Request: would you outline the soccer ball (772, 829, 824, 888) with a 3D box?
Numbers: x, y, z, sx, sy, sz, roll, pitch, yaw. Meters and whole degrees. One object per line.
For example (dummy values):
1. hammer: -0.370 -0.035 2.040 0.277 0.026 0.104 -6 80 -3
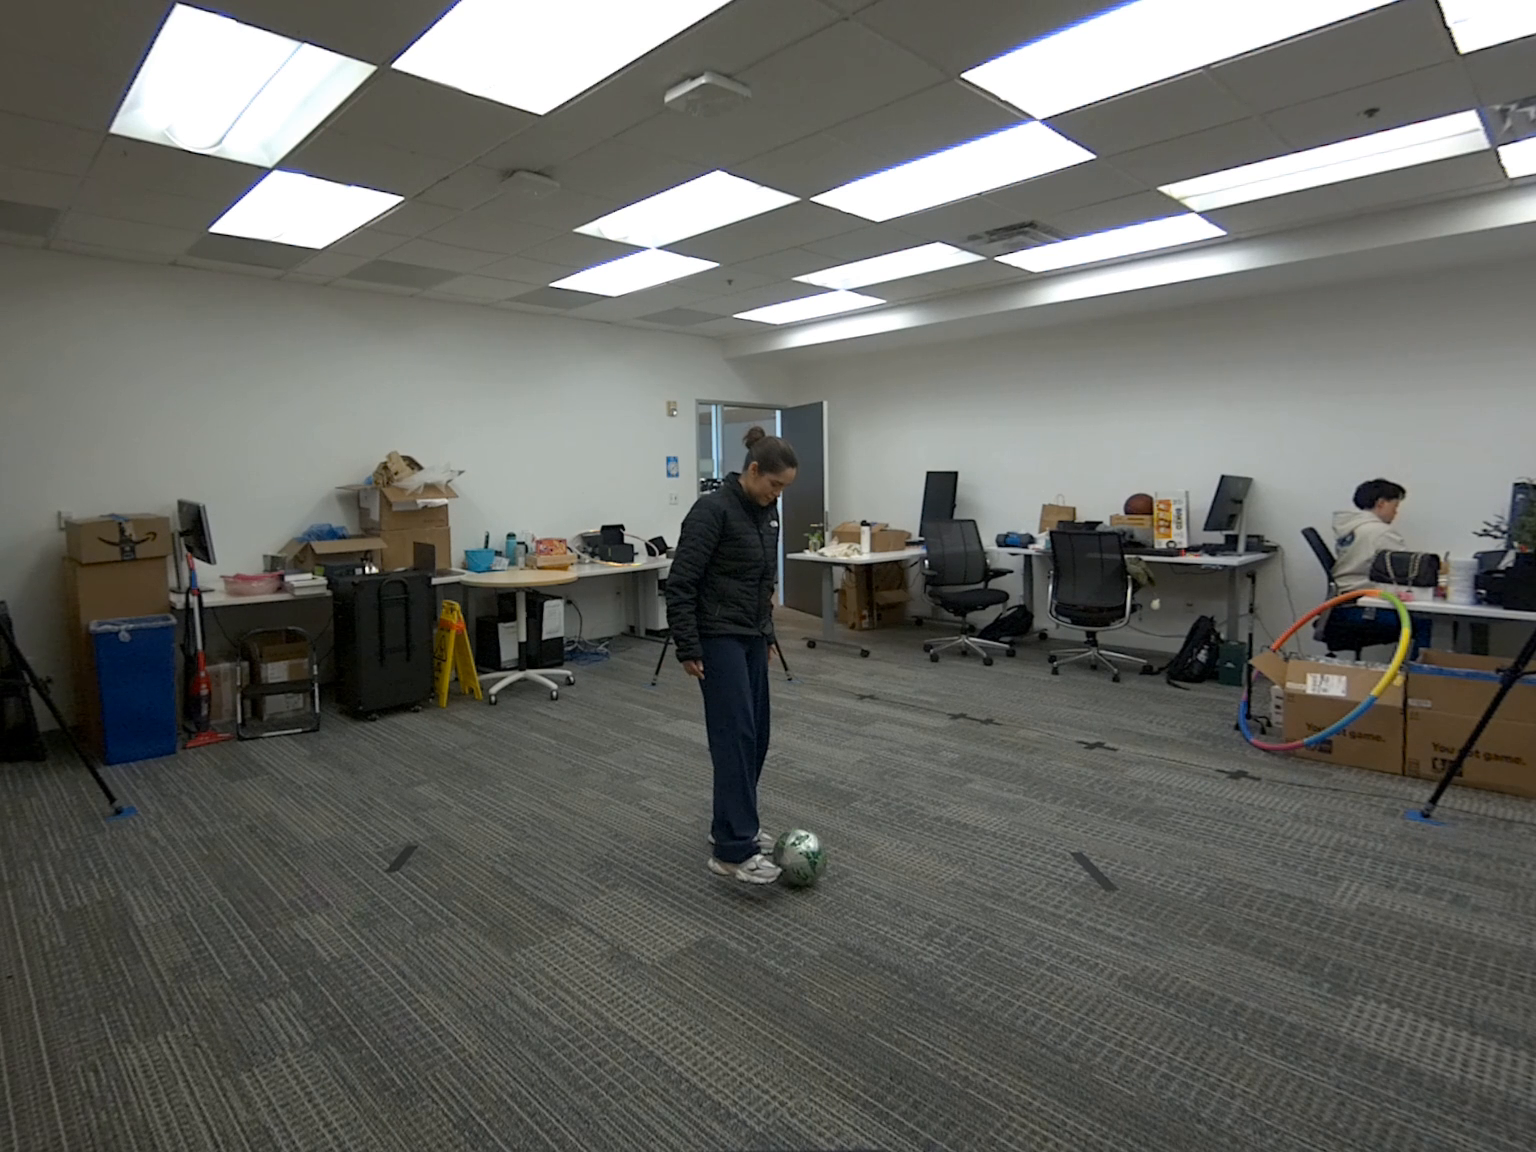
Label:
1. soccer ball: 0.108 0.962 2.934 0.187 0.187 0.188 -1 5 -2
